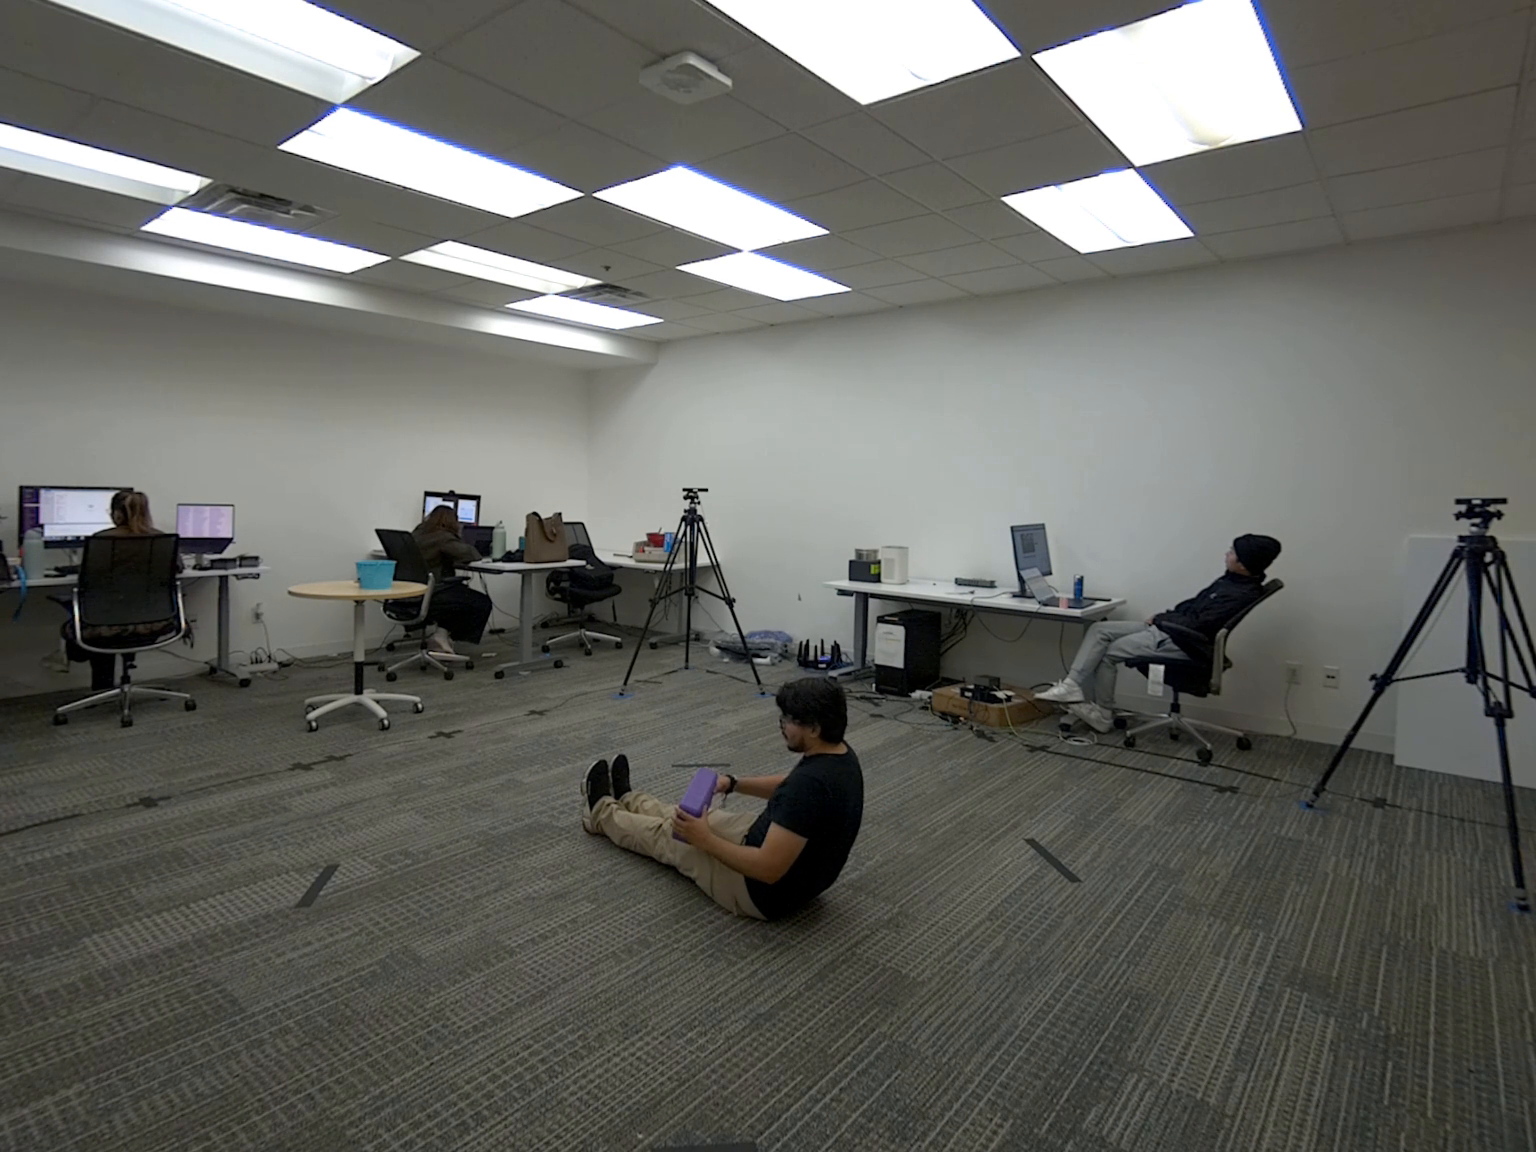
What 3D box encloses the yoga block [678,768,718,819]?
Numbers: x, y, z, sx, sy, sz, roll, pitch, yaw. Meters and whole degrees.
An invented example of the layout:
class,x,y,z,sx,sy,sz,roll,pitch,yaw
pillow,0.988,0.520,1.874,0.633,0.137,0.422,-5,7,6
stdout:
class,x,y,z,sx,sy,sz,roll,pitch,yaw
yoga block,-0.249,0.785,2.895,0.077,0.147,0.229,17,23,10
